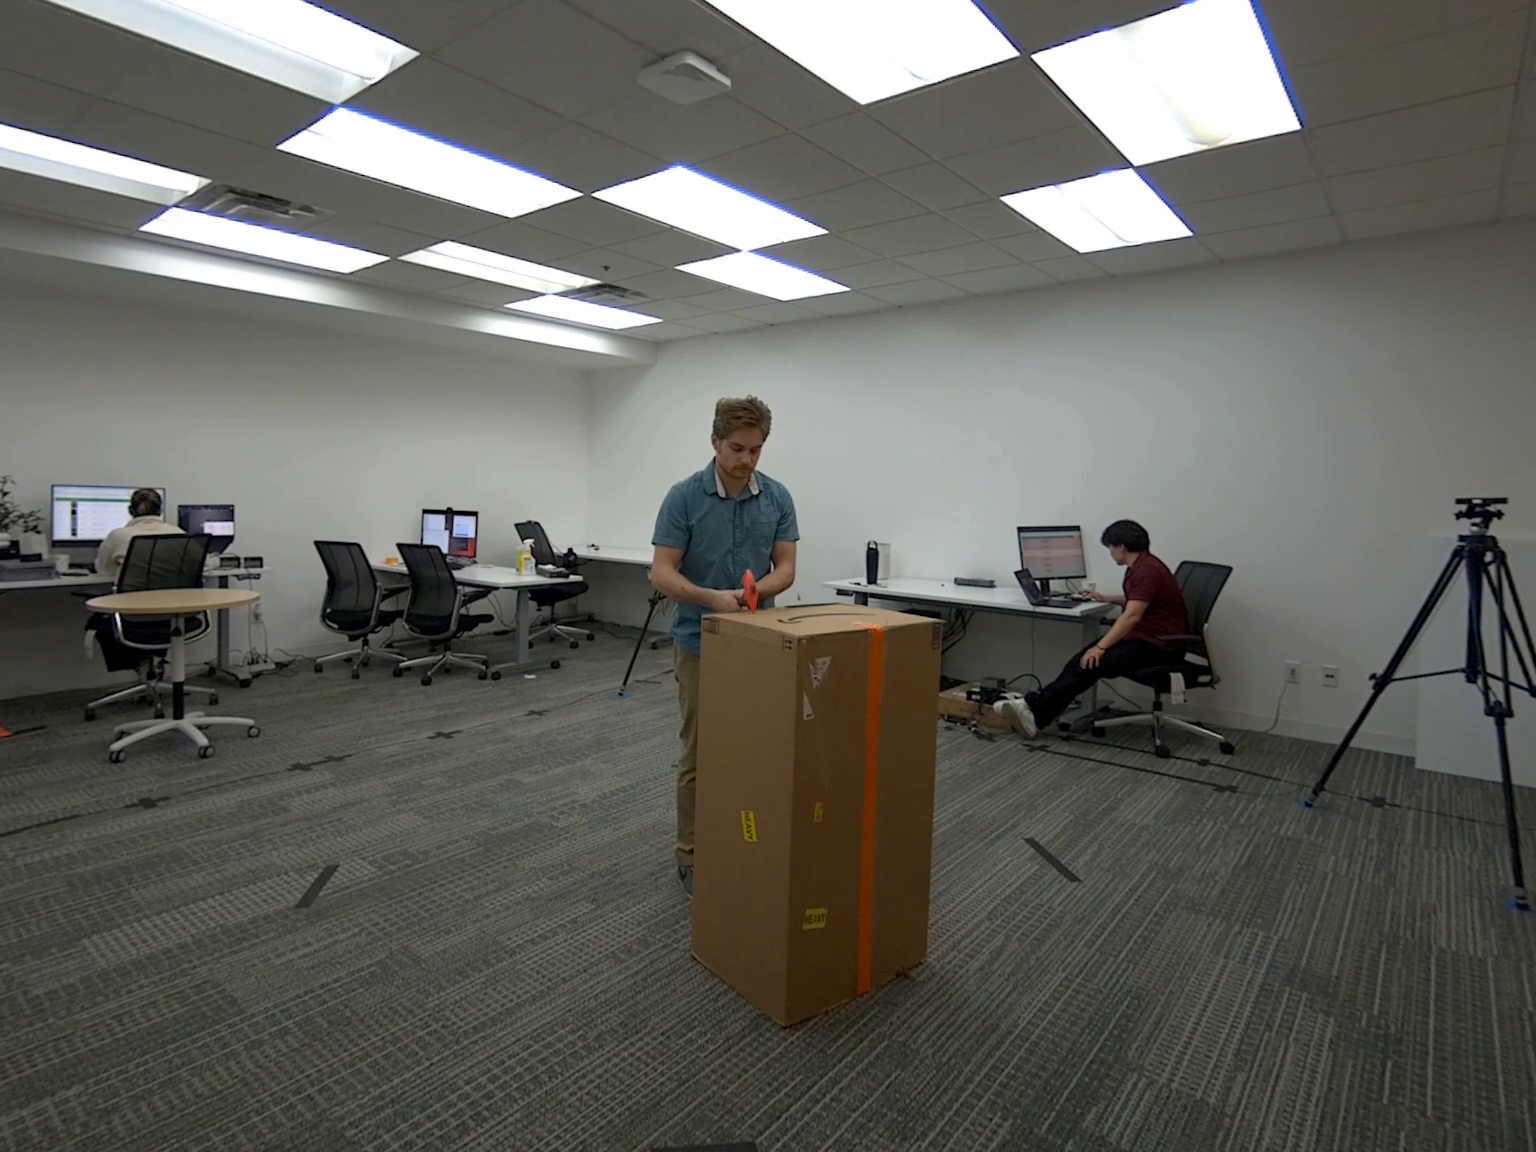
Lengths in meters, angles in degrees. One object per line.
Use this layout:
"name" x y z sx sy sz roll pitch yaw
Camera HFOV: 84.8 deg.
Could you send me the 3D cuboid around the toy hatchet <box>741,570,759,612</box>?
"toy hatchet" -0.095 0.035 2.630 0.029 0.131 0.273 -1 -2 -17
